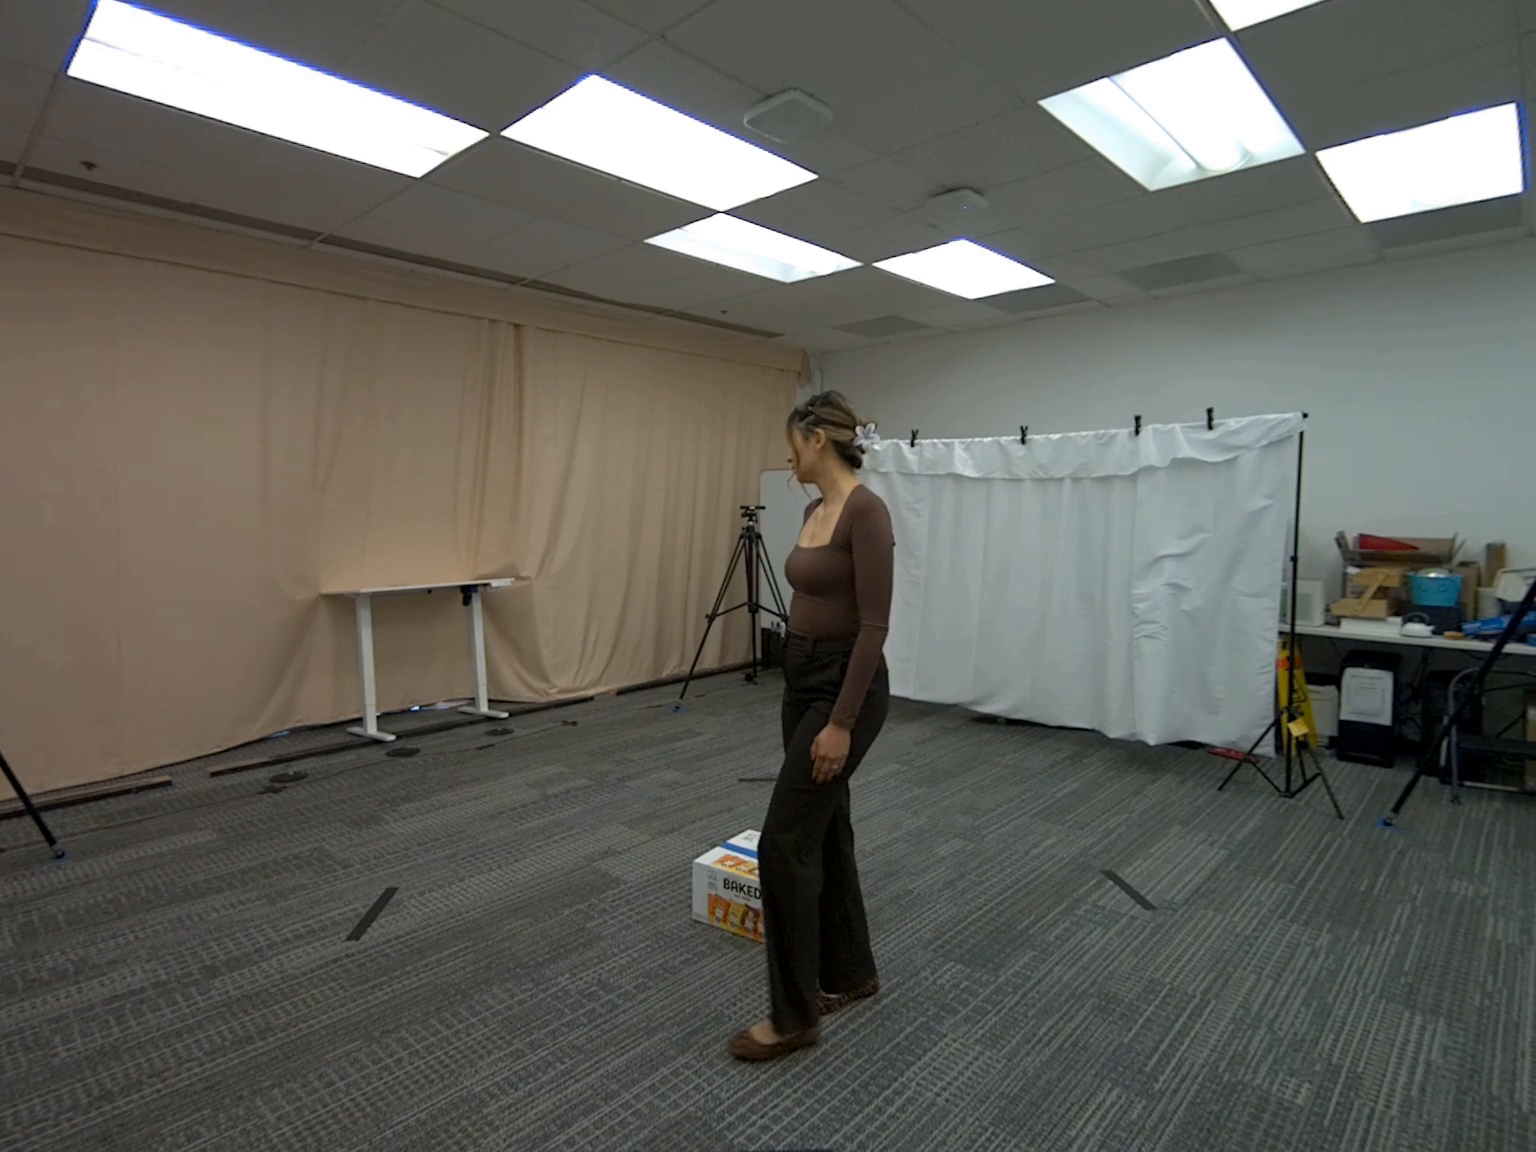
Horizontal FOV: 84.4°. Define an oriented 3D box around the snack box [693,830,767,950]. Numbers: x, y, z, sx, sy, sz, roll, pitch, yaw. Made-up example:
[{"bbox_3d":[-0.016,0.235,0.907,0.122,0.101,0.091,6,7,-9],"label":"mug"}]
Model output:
[{"bbox_3d":[0.014,1.054,2.845,0.418,0.205,0.331,3,5,34],"label":"snack box"}]
